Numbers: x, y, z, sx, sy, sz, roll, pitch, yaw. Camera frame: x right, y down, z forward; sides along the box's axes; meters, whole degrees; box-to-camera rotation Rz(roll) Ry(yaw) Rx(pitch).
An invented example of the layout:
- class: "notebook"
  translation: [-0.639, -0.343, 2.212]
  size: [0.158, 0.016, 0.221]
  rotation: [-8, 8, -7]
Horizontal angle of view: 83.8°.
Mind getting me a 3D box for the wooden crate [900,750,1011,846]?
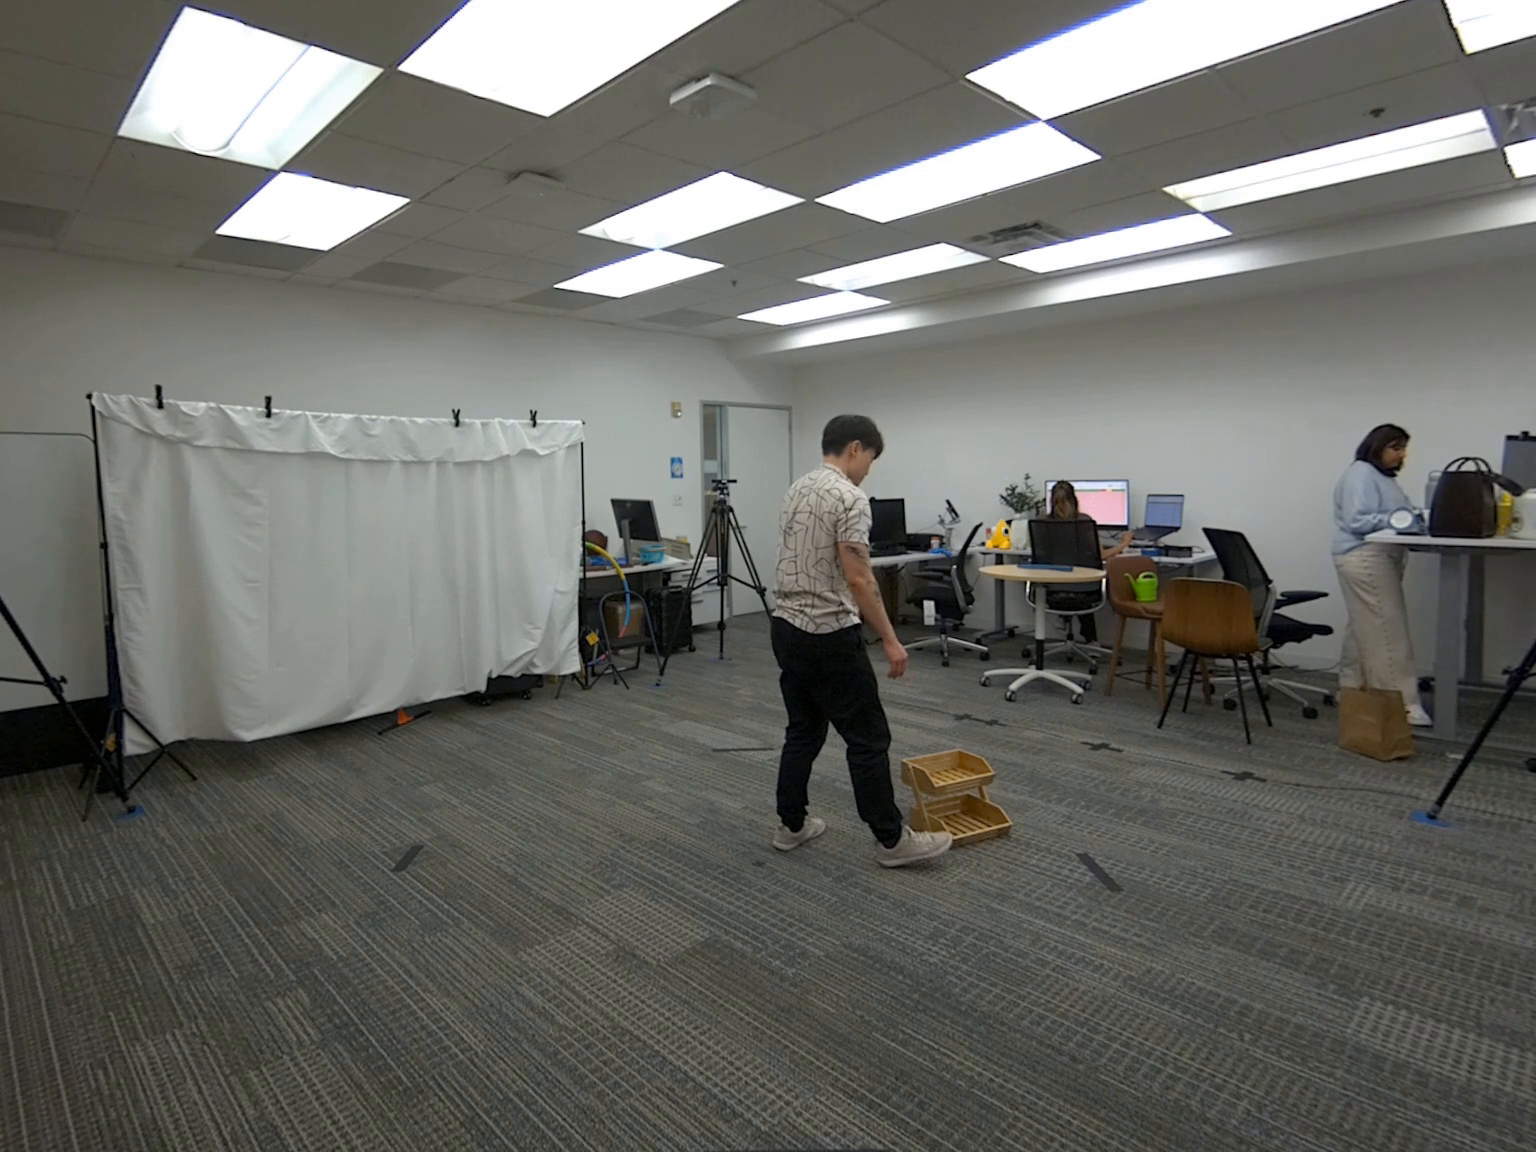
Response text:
- class: "wooden crate"
  translation: [0.744, 0.869, 3.375]
  size: [0.317, 0.272, 0.310]
  rotation: [-4, 5, -28]
